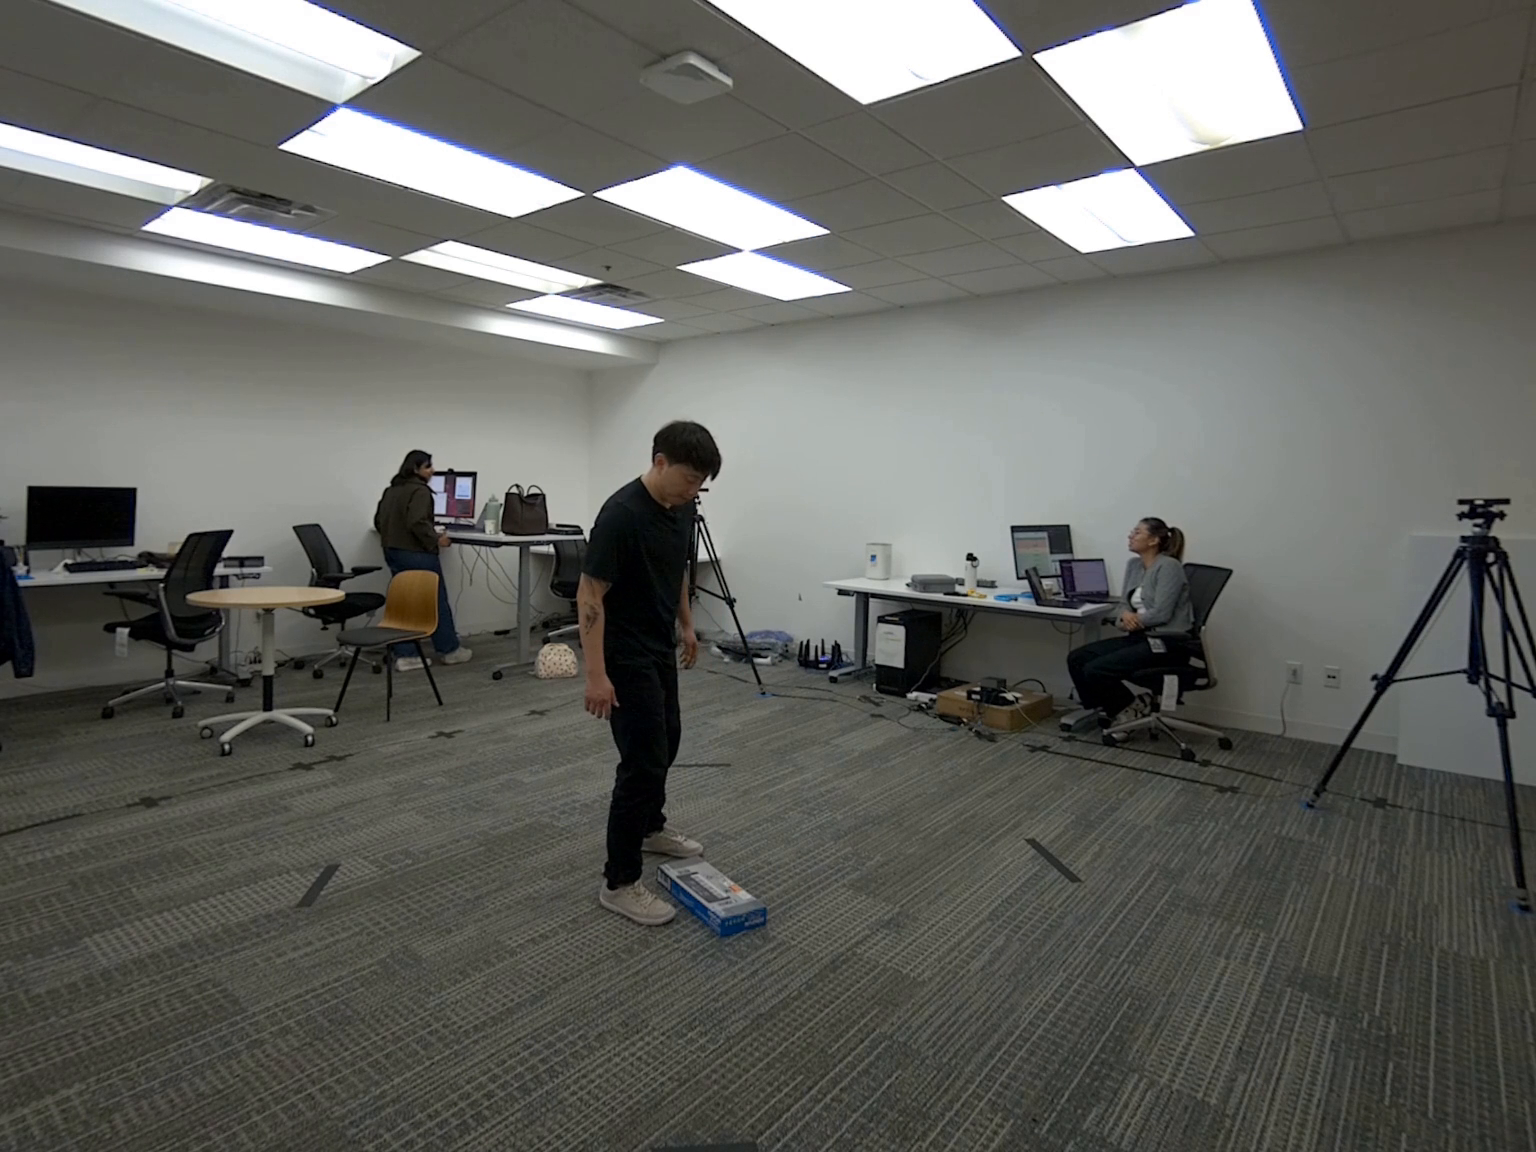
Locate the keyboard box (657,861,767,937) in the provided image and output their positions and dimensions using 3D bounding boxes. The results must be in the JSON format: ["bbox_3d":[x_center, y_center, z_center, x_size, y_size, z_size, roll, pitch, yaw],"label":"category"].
[{"bbox_3d":[-0.207,1.063,2.857,0.171,0.059,0.451,-1,6,-33],"label":"keyboard box"}]
